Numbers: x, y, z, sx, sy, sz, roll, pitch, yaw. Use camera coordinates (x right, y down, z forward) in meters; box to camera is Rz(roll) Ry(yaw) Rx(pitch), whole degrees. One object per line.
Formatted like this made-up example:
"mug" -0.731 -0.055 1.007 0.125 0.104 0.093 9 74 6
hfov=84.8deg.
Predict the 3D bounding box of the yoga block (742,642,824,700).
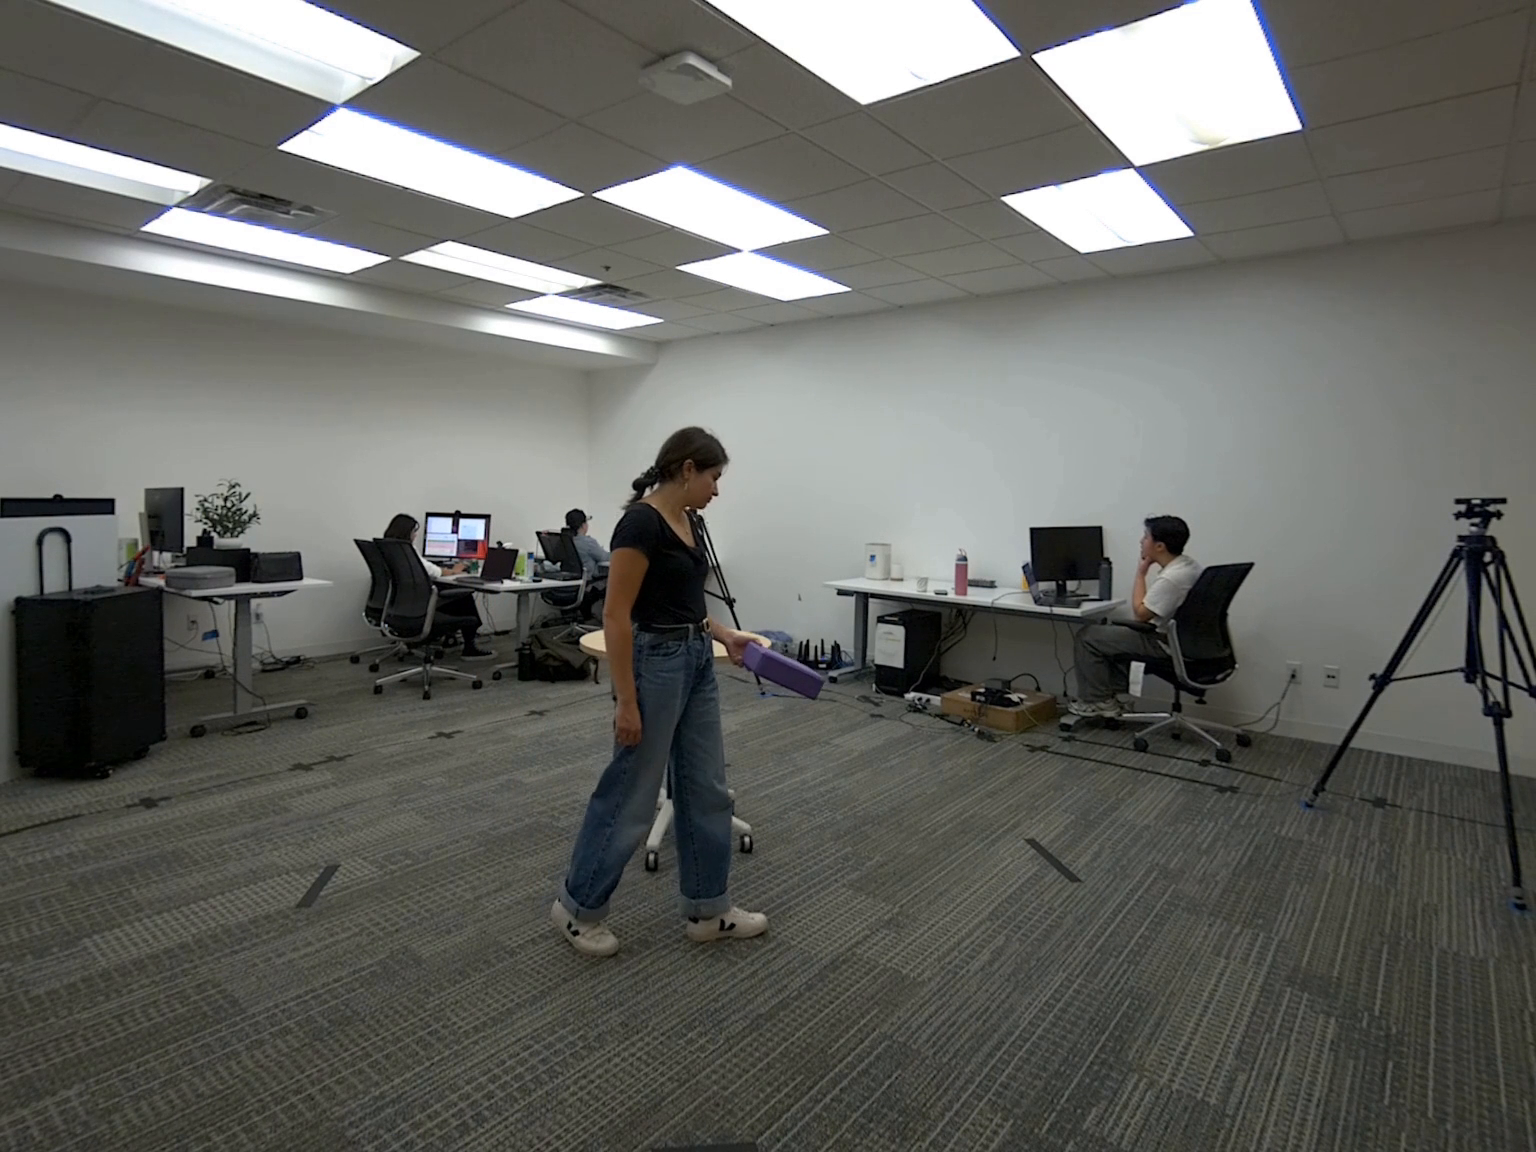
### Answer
"yoga block" 0.041 0.288 2.634 0.225 0.076 0.152 26 0 -14
